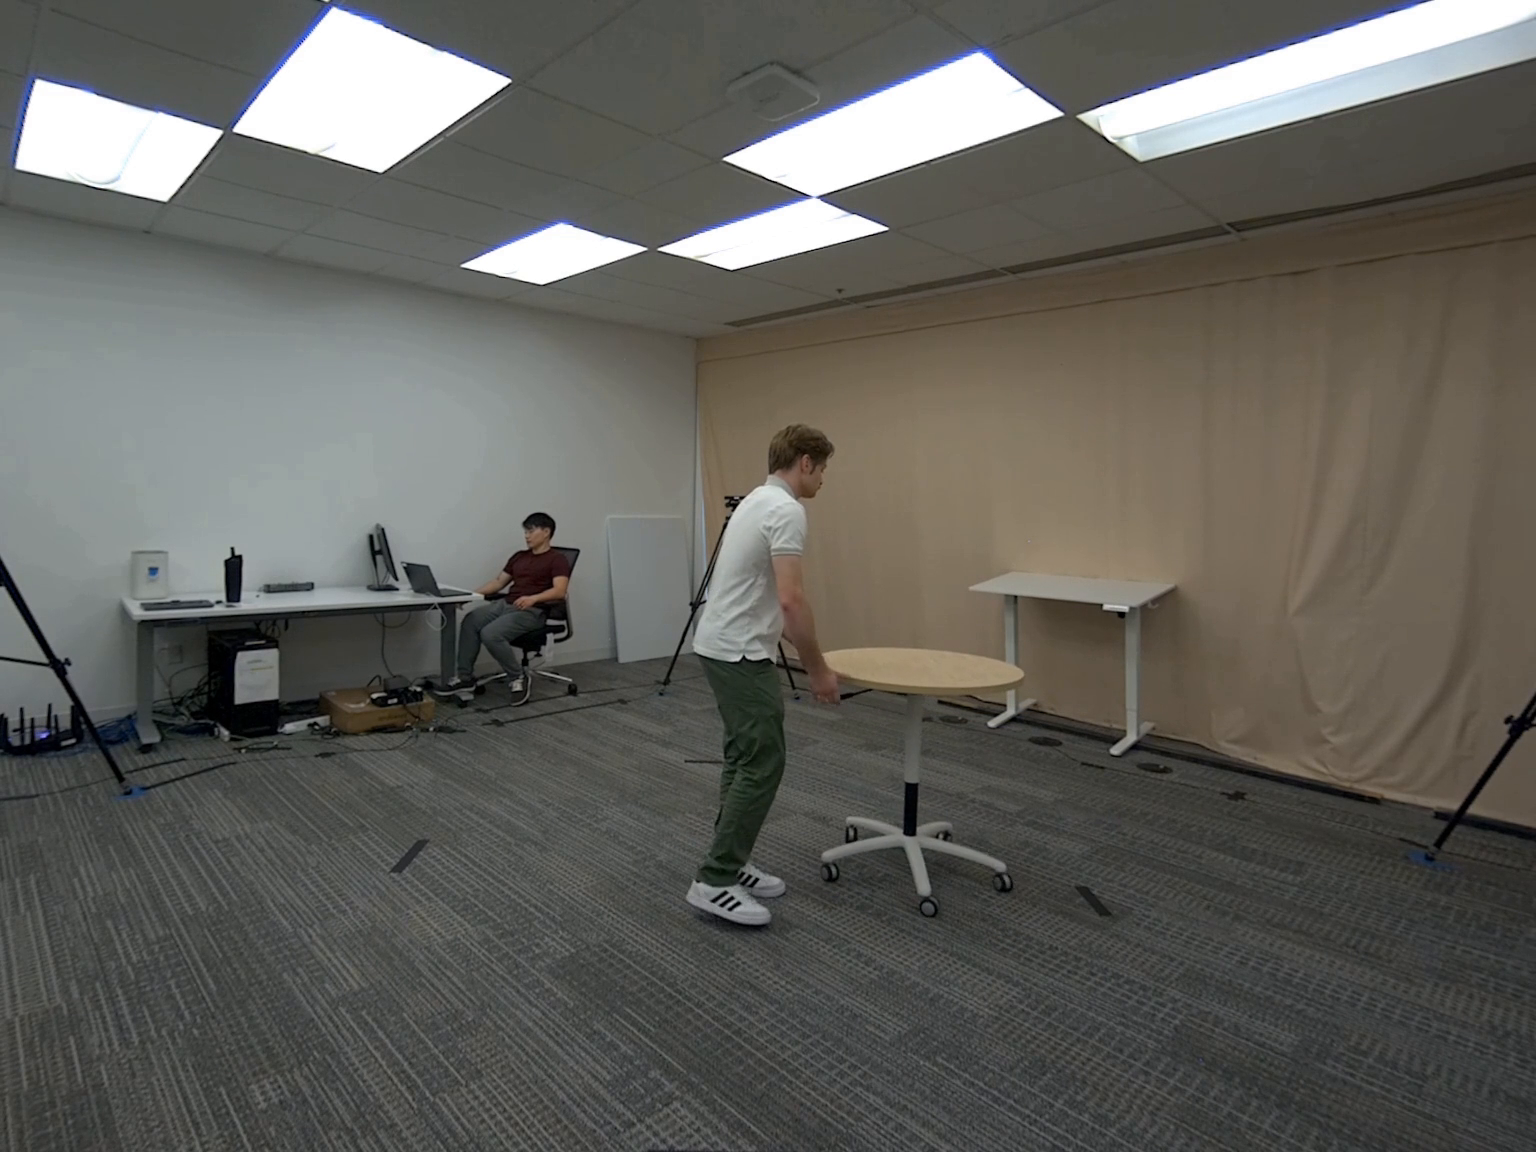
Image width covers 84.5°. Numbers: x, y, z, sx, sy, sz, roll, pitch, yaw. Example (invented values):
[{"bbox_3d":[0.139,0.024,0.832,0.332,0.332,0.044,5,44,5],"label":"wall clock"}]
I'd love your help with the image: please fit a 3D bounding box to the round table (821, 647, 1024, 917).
[{"bbox_3d":[0.528,0.725,3.159,0.763,0.792,0.766,2,3,-1],"label":"round table"}]
